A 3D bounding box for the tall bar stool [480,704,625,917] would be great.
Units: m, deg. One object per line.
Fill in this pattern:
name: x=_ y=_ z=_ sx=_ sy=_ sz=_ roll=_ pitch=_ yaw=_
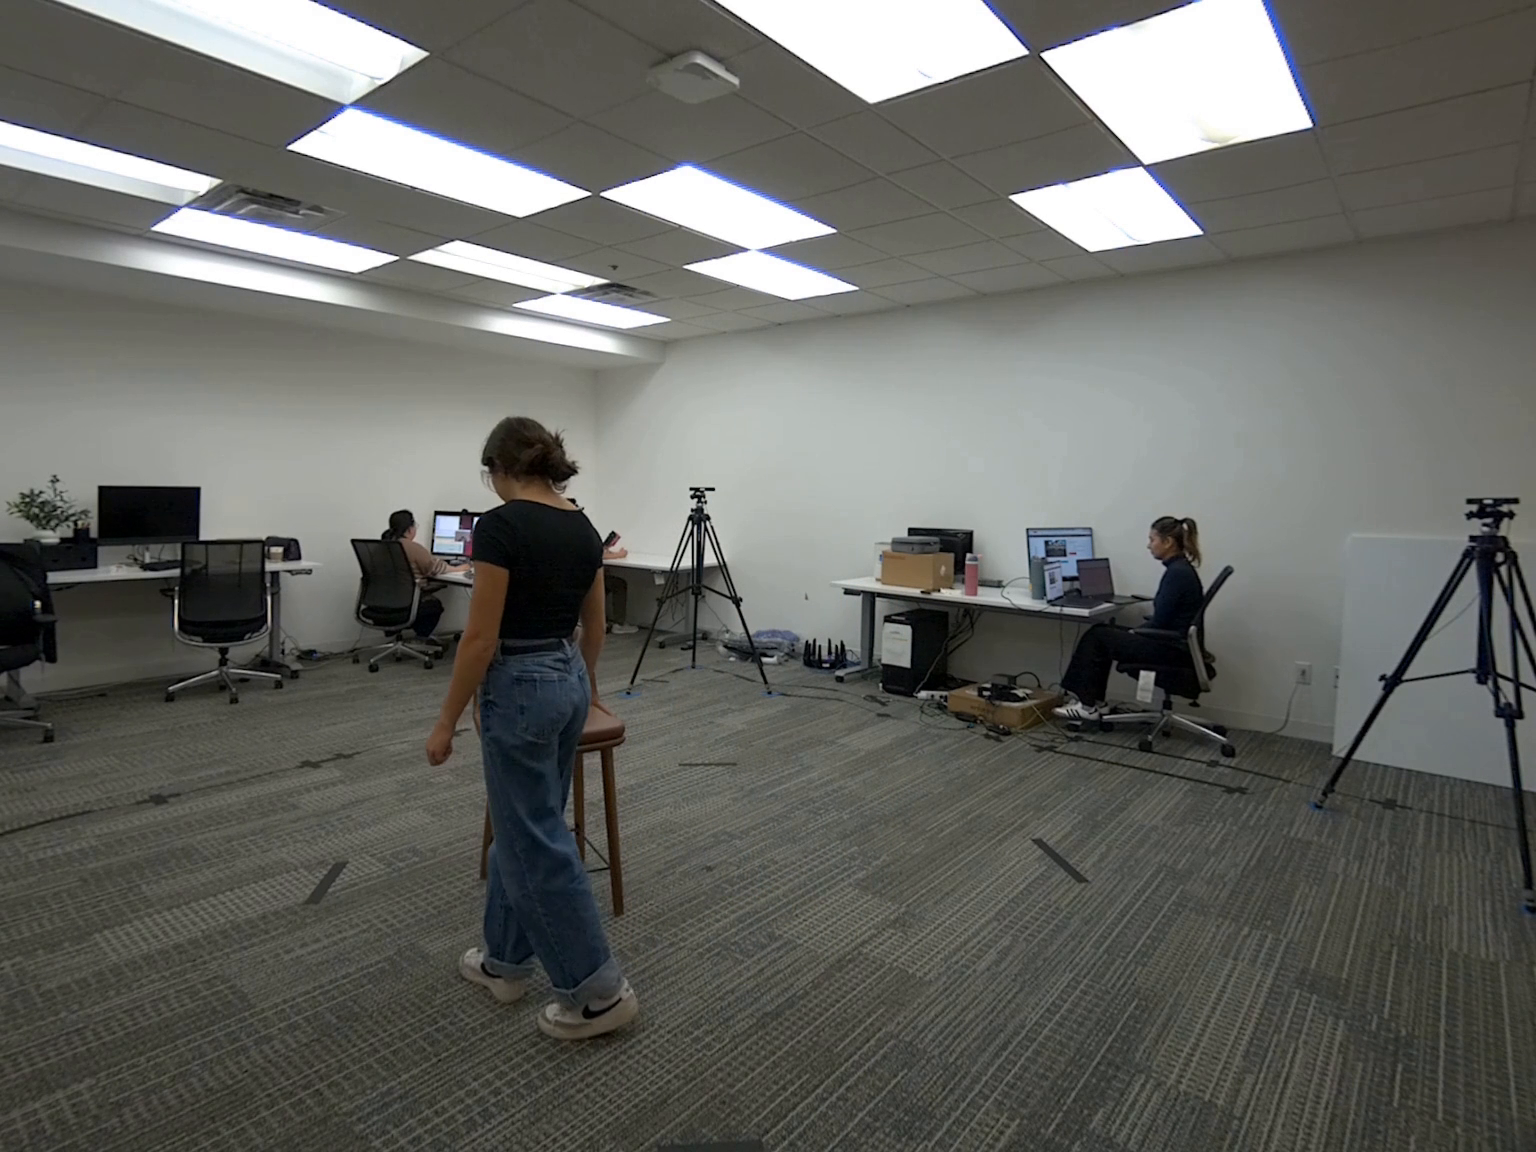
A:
tall bar stool: x=-0.757 y=0.646 z=2.862 sx=0.445 sy=0.888 sz=0.480 roll=-1 pitch=2 yaw=-26
